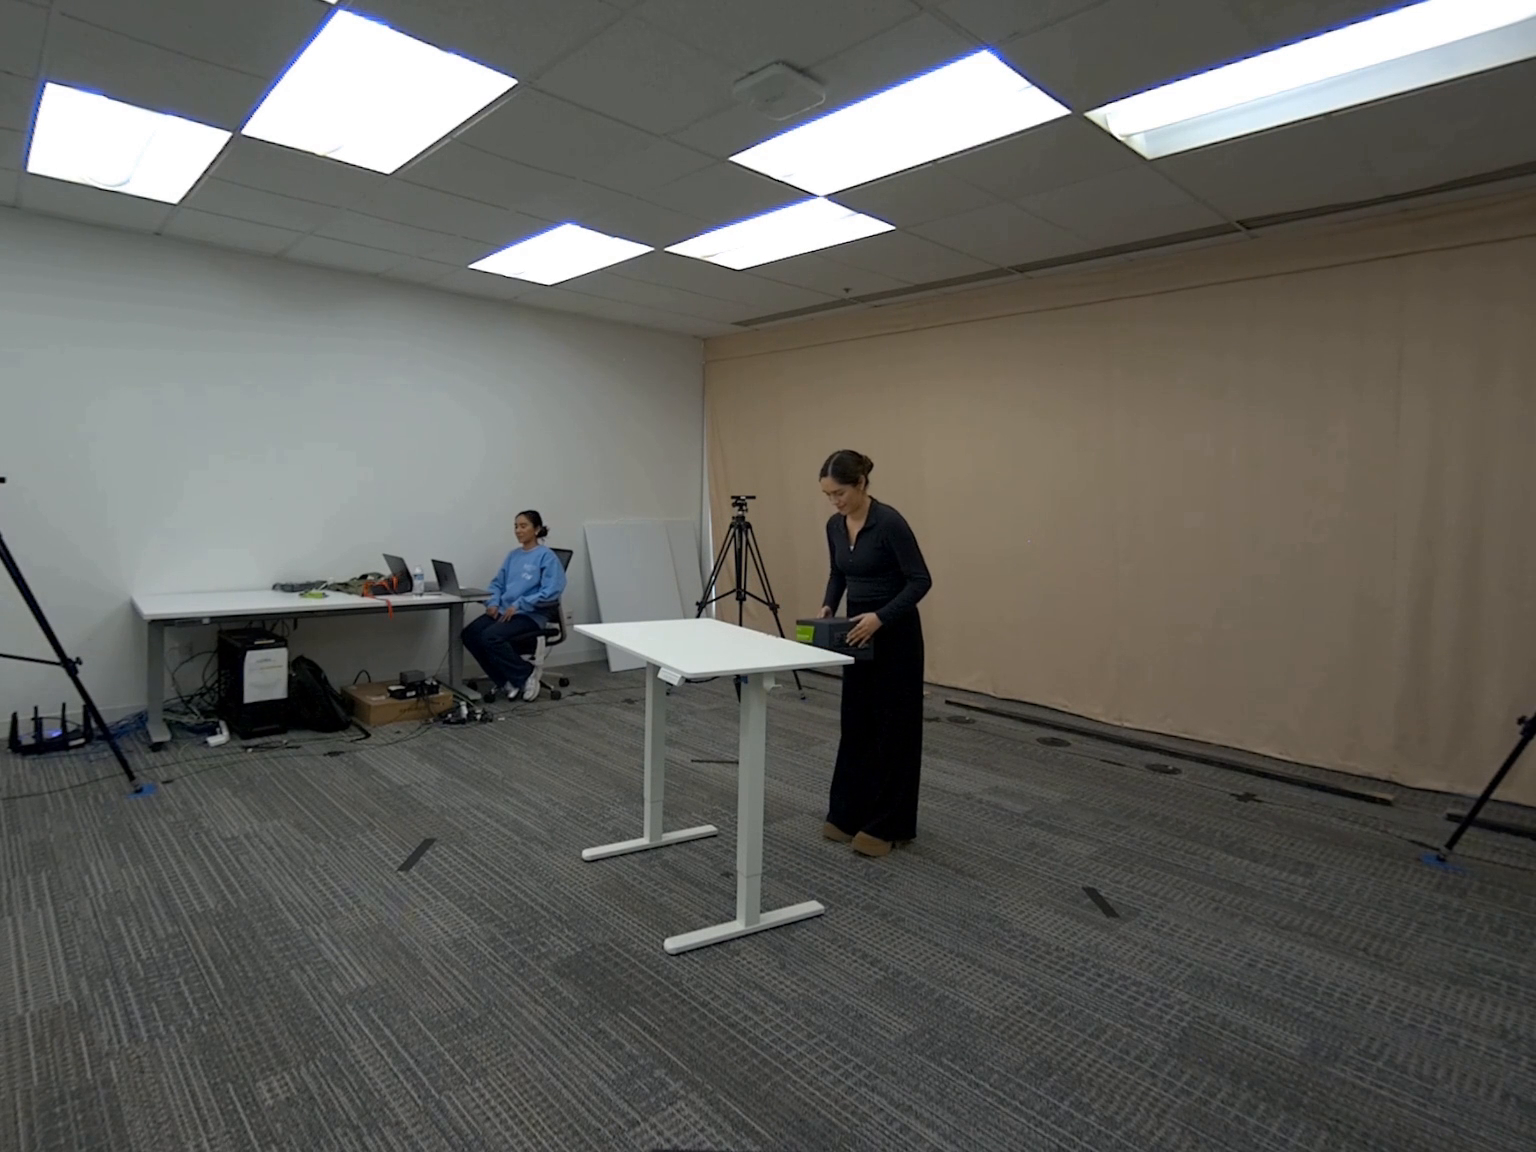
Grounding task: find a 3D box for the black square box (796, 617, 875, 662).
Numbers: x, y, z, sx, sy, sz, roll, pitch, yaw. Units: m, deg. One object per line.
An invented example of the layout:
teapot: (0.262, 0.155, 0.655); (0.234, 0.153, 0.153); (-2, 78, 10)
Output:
black square box: (0.250, 0.249, 3.314); (0.212, 0.156, 0.233); (-1, 1, -31)
